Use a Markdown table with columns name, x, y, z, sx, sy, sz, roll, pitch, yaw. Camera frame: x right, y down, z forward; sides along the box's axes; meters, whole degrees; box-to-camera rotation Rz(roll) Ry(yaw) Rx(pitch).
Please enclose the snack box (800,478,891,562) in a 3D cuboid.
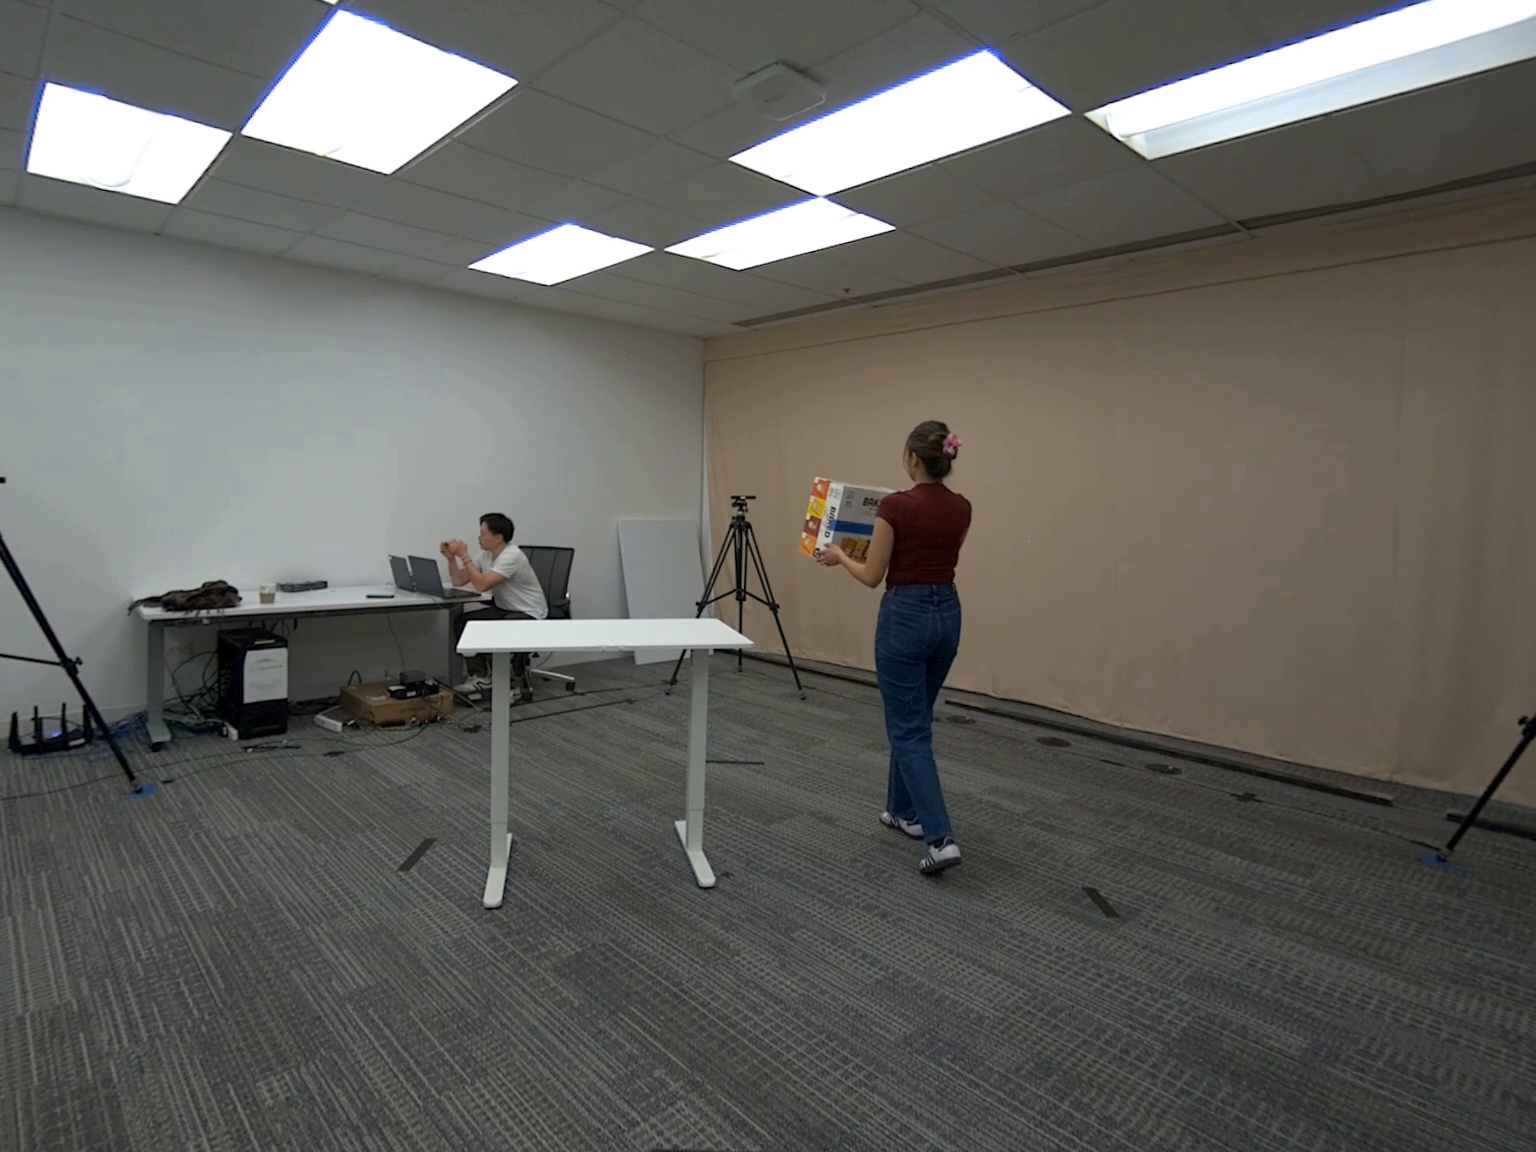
| name | x | y | z | sx | sy | sz | roll | pitch | yaw |
| --- | --- | --- | --- | --- | --- | --- | --- | --- | --- |
| snack box | 0.383 | -0.234 | 3.752 | 0.395 | 0.338 | 0.212 | 5 | 13 | -35 |
